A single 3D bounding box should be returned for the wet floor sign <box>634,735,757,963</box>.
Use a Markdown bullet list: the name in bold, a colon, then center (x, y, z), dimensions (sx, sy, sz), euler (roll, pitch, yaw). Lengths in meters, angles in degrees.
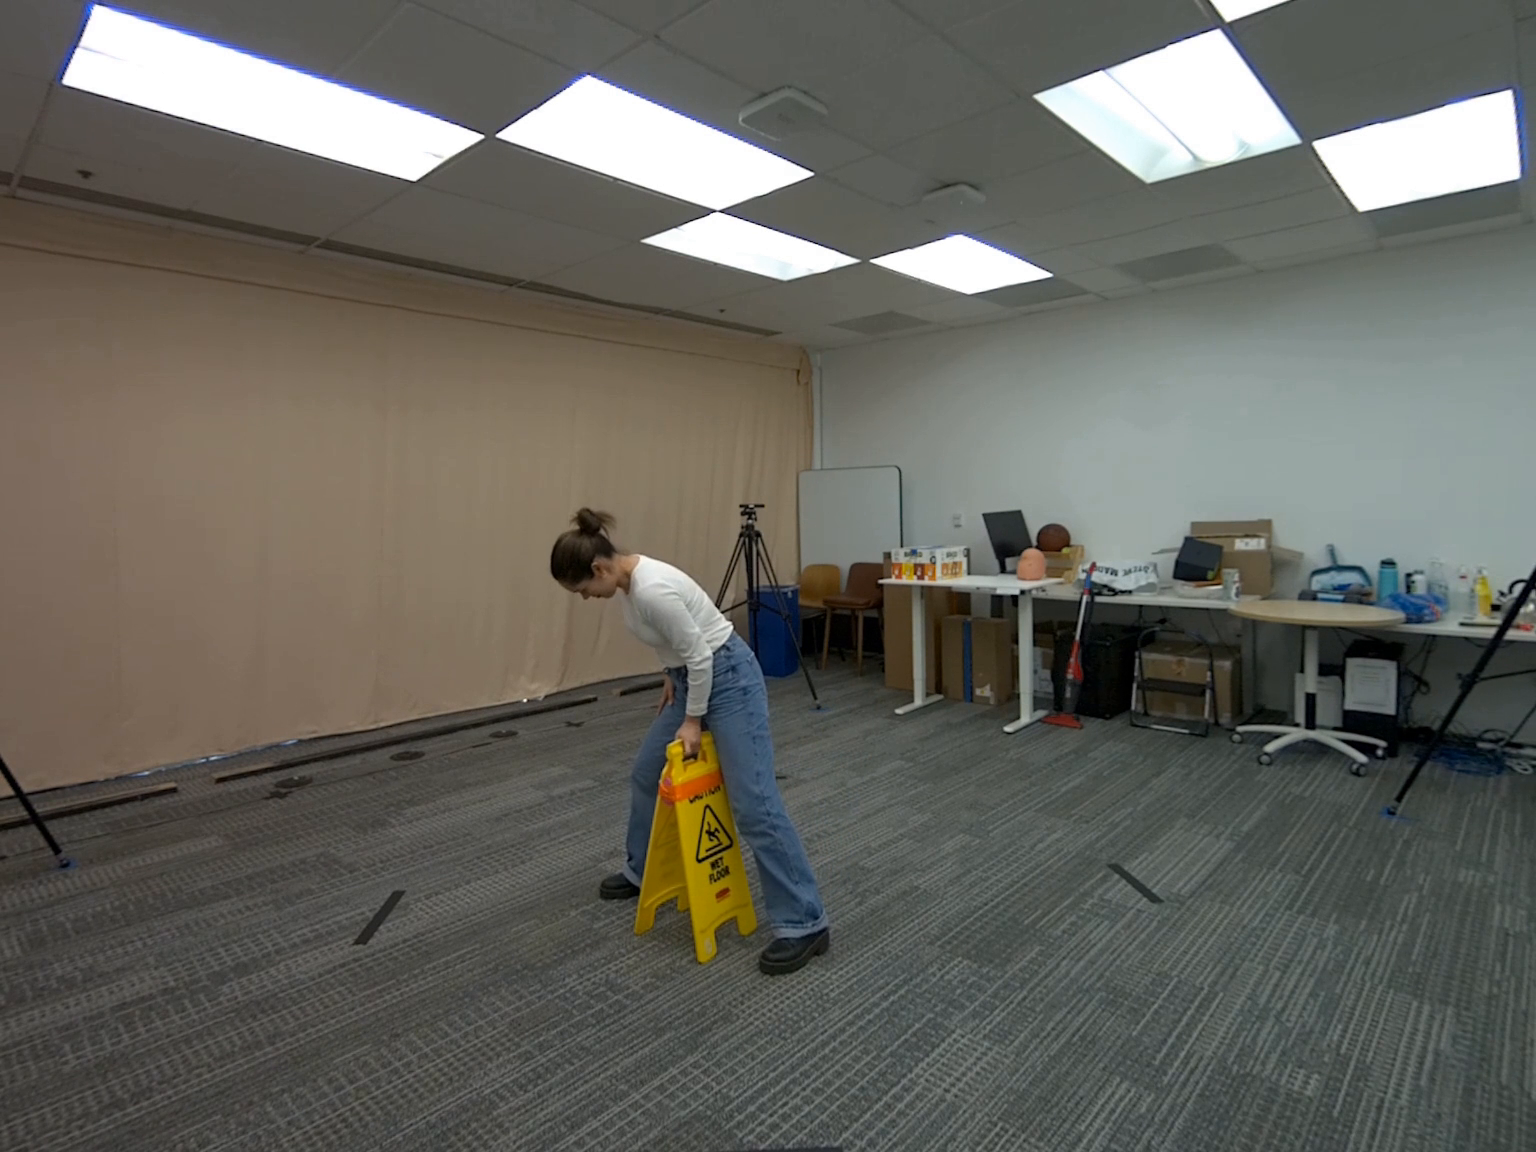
- **wet floor sign**: center (-0.243, 0.848, 2.736), dimensions (0.299, 0.645, 0.274), euler (1, 4, 39)
